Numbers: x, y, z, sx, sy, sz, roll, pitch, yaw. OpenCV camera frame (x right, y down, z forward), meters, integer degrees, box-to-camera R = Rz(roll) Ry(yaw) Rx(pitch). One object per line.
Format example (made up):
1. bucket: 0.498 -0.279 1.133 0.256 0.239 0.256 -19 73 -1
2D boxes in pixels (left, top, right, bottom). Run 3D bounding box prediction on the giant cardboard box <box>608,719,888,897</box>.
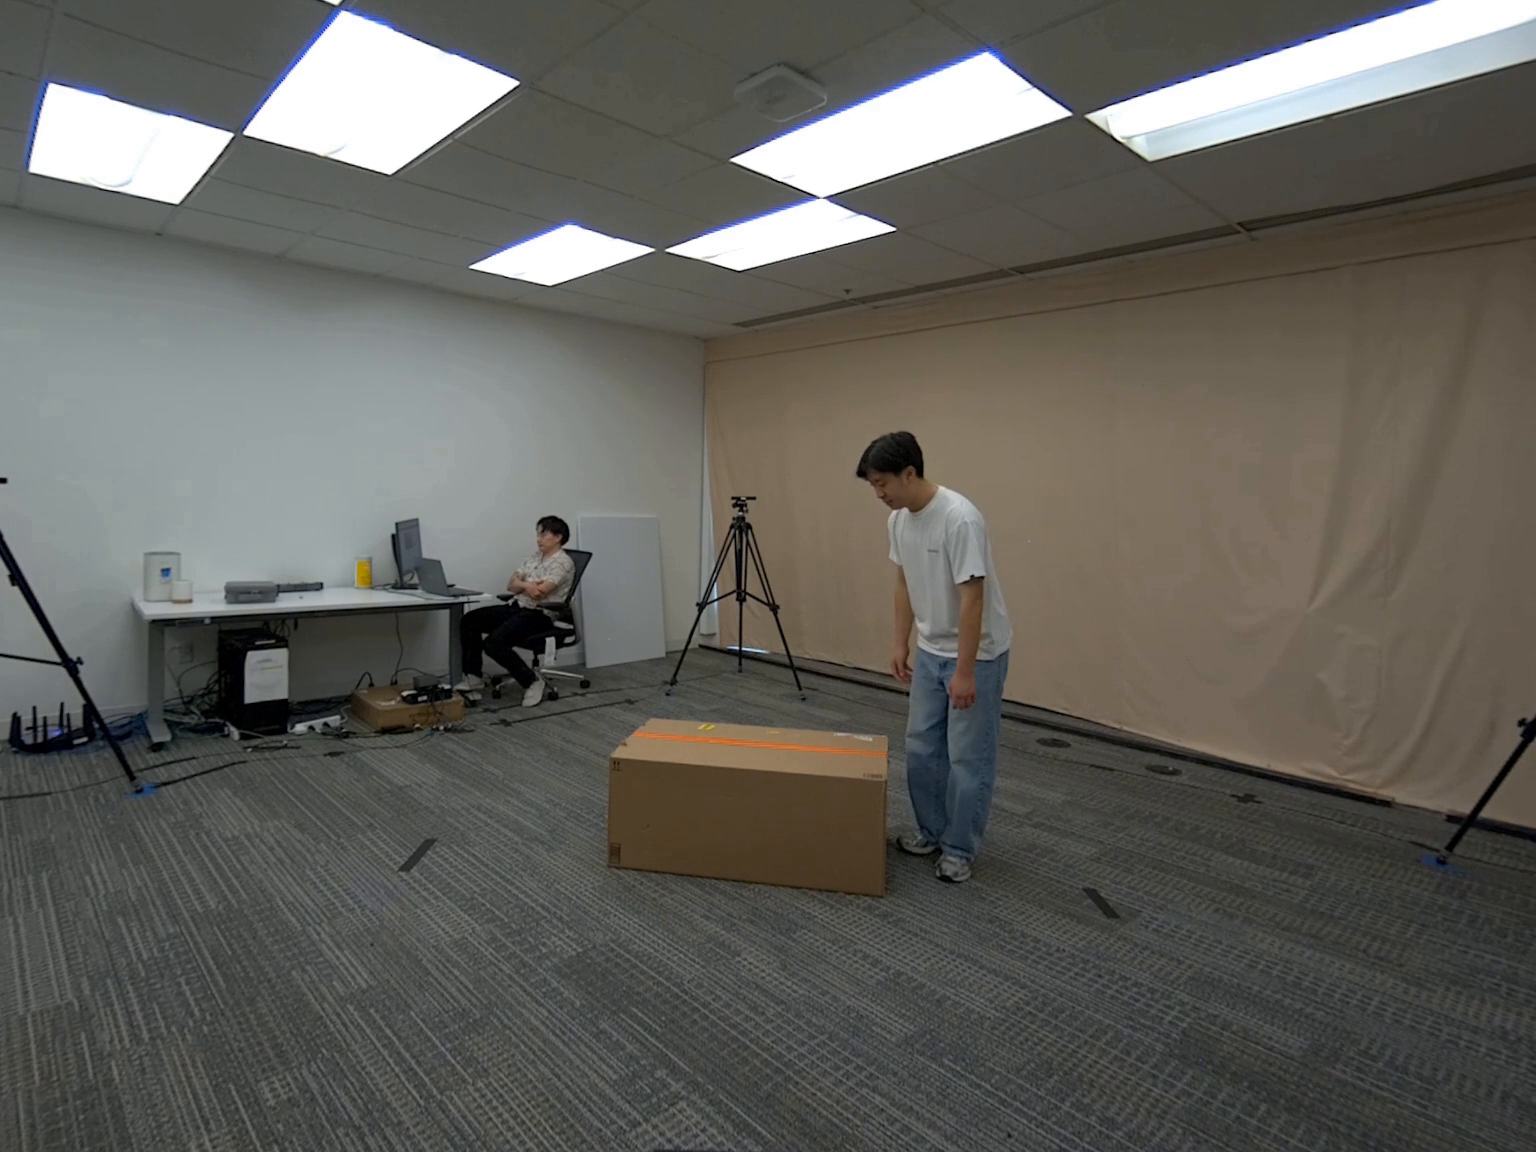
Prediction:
1. giant cardboard box: -0.057 0.870 3.314 1.035 0.425 0.574 2 4 10
